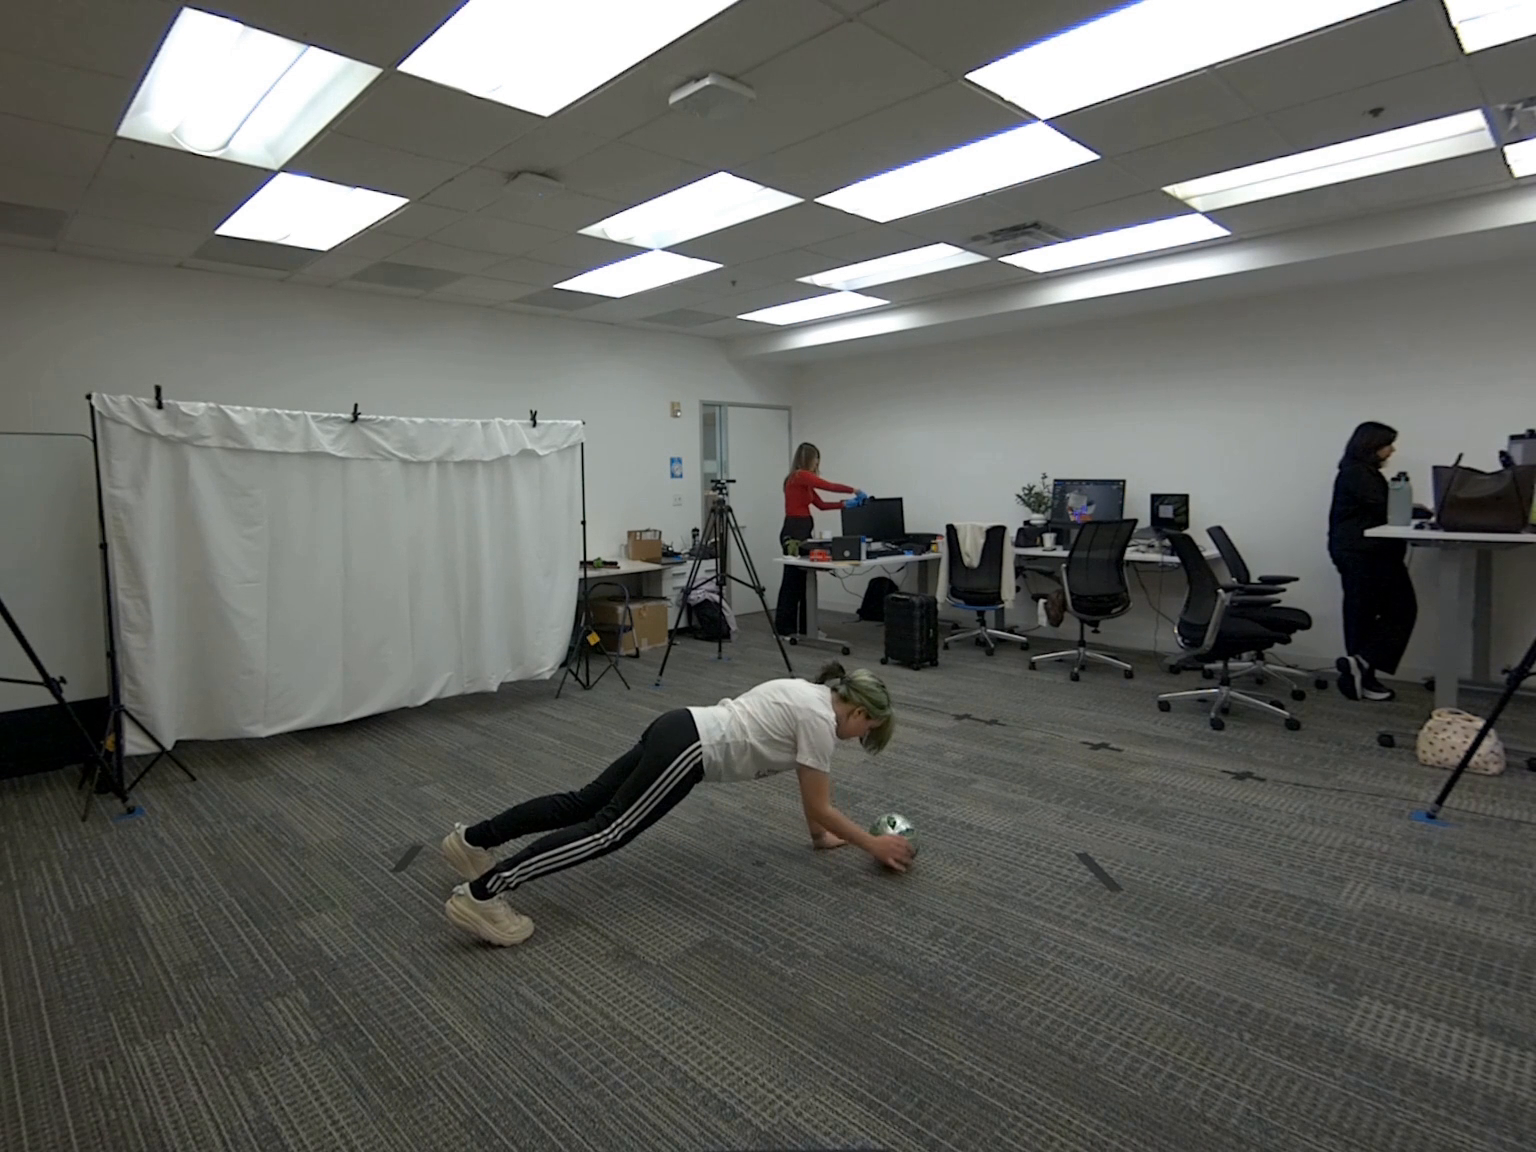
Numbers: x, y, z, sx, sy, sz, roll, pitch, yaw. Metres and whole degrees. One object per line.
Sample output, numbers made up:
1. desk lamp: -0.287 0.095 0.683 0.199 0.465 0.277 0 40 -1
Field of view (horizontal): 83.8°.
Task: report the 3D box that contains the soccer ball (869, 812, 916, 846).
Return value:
1. soccer ball: 0.444 0.945 3.059 0.187 0.187 0.188 -1 5 -2
